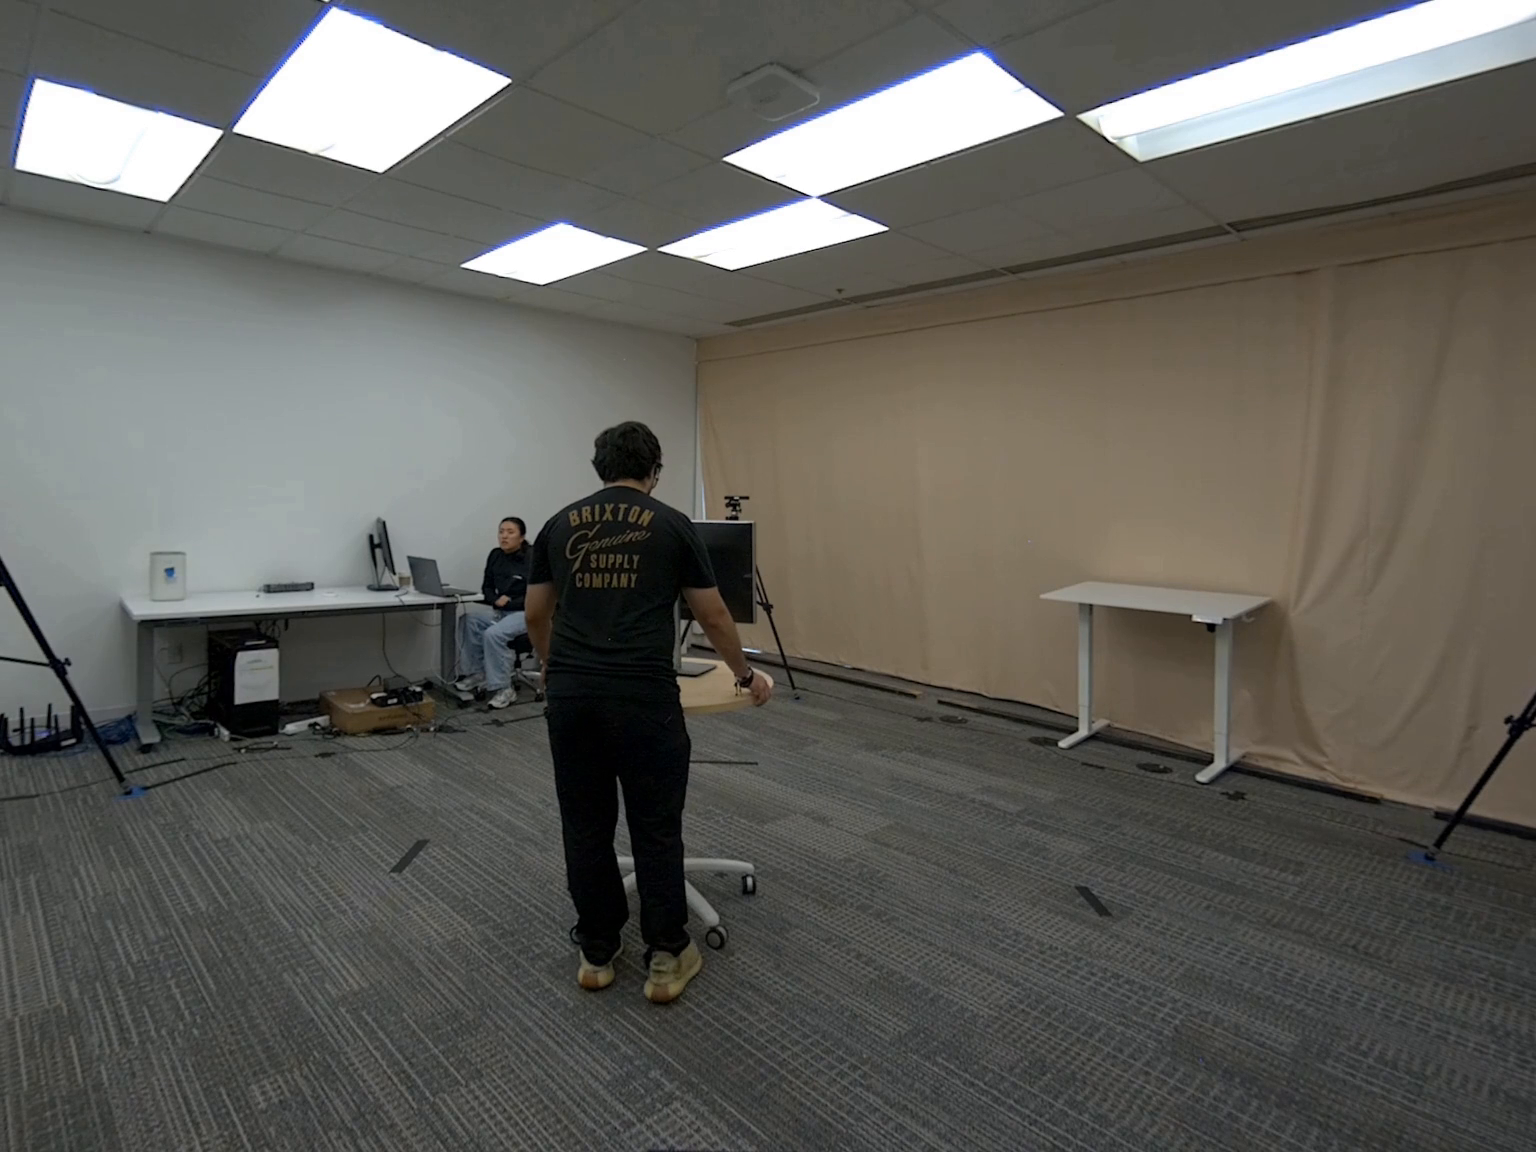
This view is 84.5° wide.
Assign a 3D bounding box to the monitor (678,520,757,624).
[{"bbox_3d":[-0.333,0.080,2.970,0.575,0.551,0.207,3,6,21],"label":"monitor"}]
